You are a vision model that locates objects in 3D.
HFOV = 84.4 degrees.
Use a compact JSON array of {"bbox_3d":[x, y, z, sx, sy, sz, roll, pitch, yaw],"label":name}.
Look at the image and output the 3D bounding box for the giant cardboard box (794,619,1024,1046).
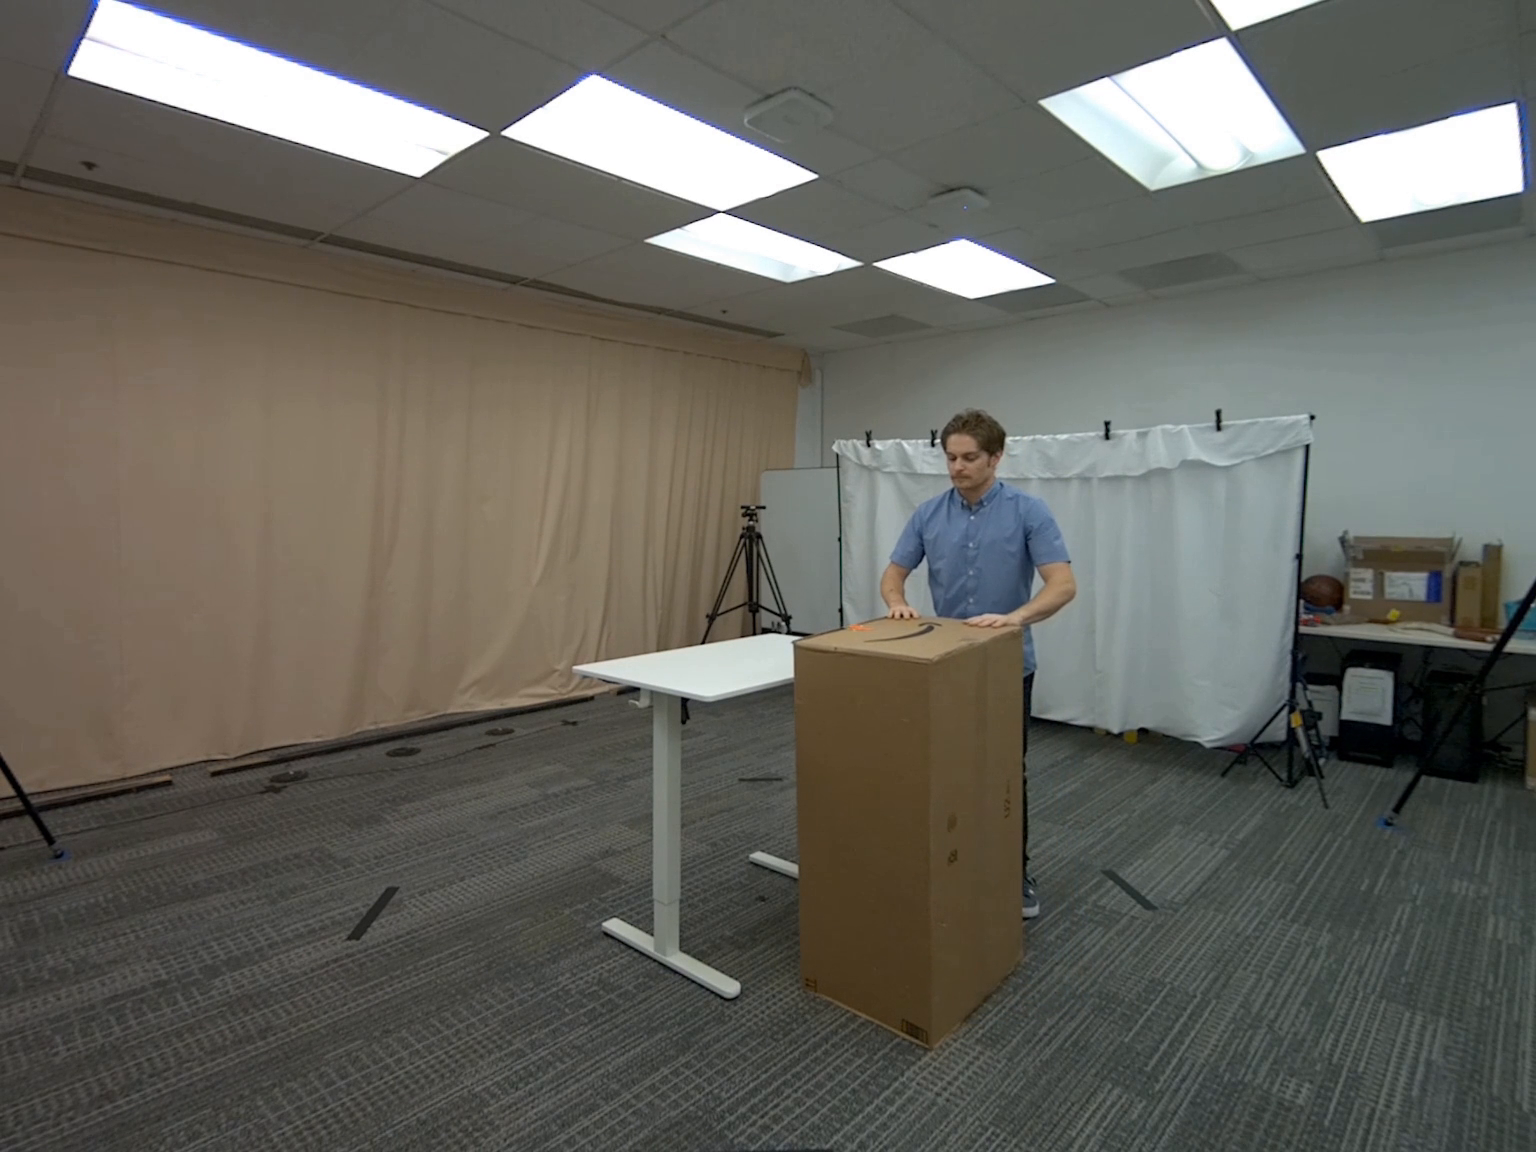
[{"bbox_3d":[0.420,0.671,2.456,0.440,1.023,0.560,3,6,41],"label":"giant cardboard box"}]
